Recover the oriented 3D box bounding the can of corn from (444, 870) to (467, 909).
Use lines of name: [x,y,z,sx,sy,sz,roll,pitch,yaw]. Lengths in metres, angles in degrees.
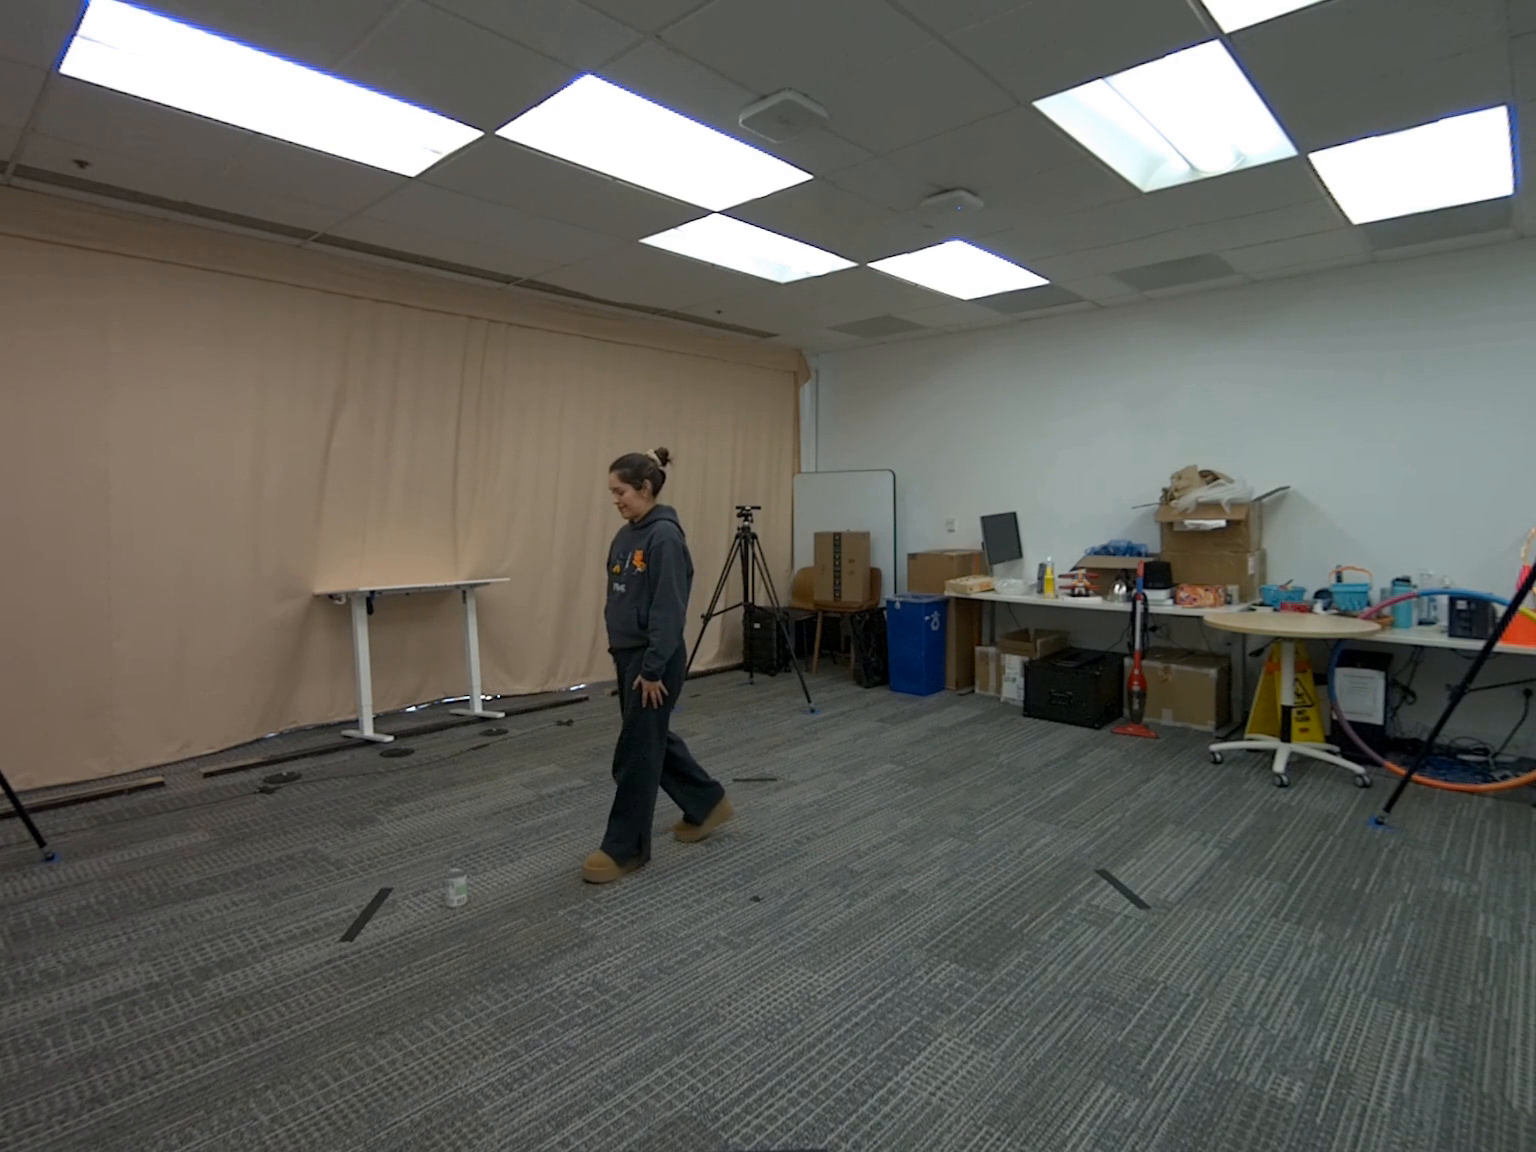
can of corn: [-1.082,1.115,2.965,0.074,0.111,0.074,0,4,-2]
